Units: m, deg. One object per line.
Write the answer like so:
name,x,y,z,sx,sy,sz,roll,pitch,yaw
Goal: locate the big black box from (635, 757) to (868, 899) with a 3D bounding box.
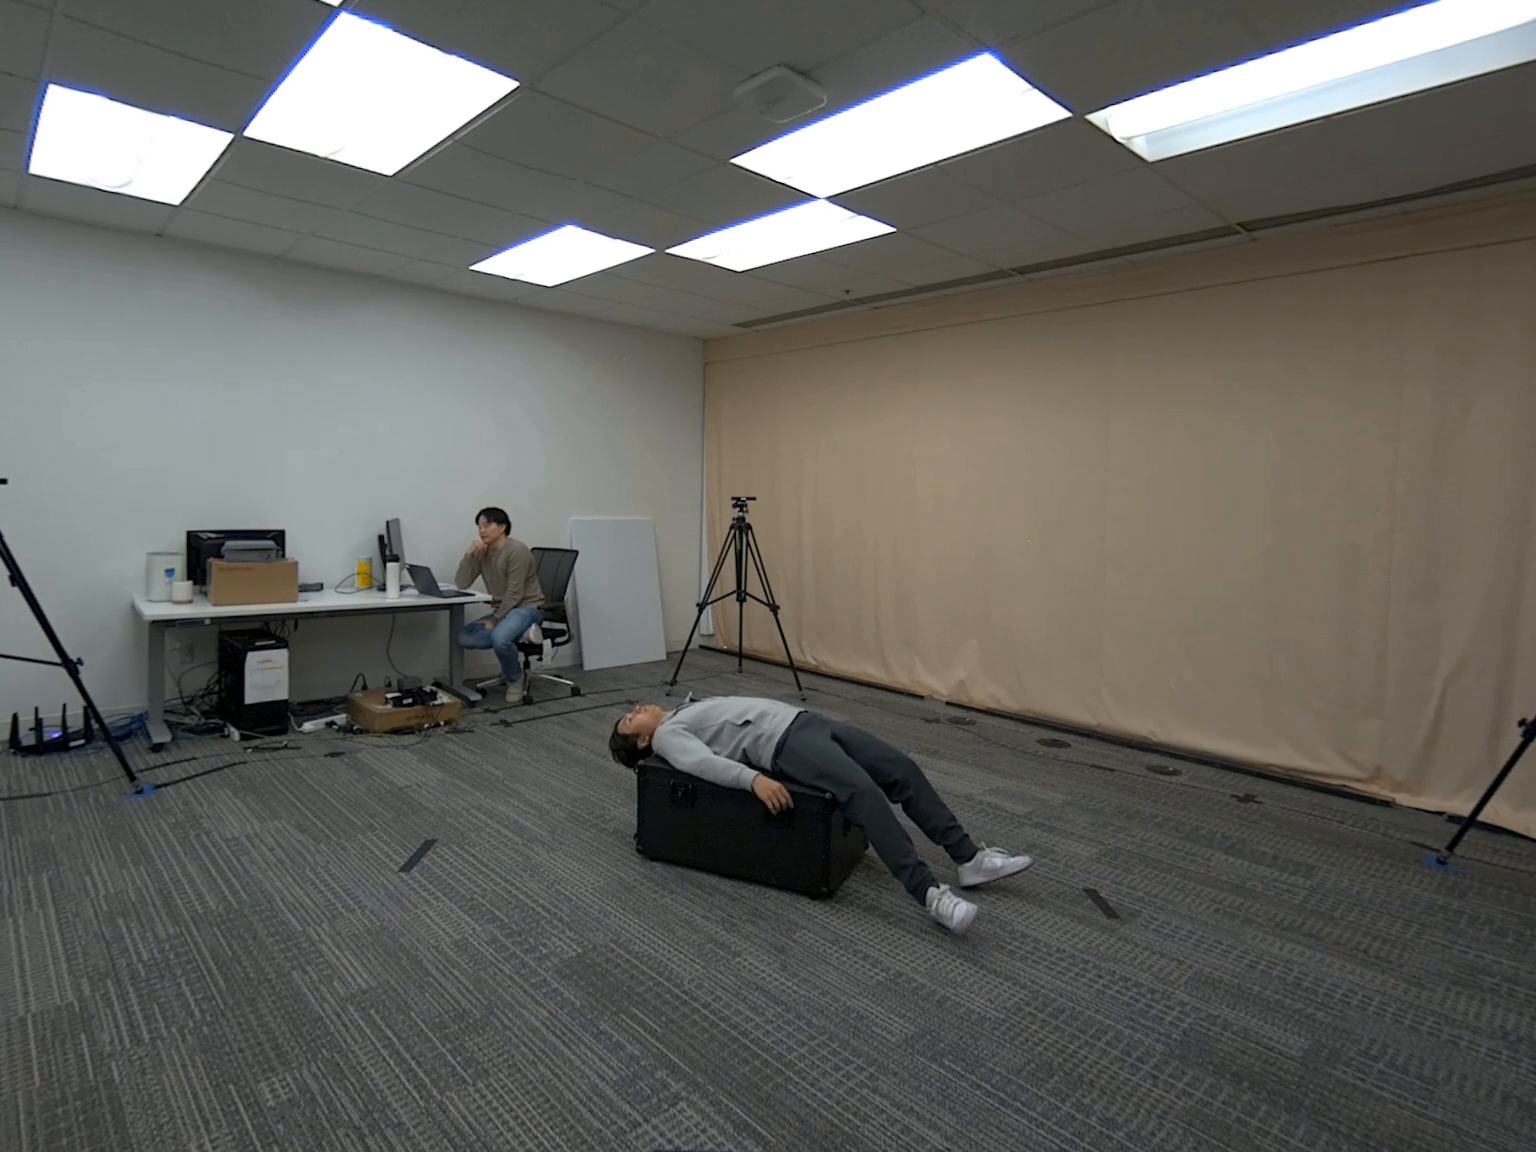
big black box,-0.030,0.911,3.253,0.878,0.395,0.513,3,6,26
